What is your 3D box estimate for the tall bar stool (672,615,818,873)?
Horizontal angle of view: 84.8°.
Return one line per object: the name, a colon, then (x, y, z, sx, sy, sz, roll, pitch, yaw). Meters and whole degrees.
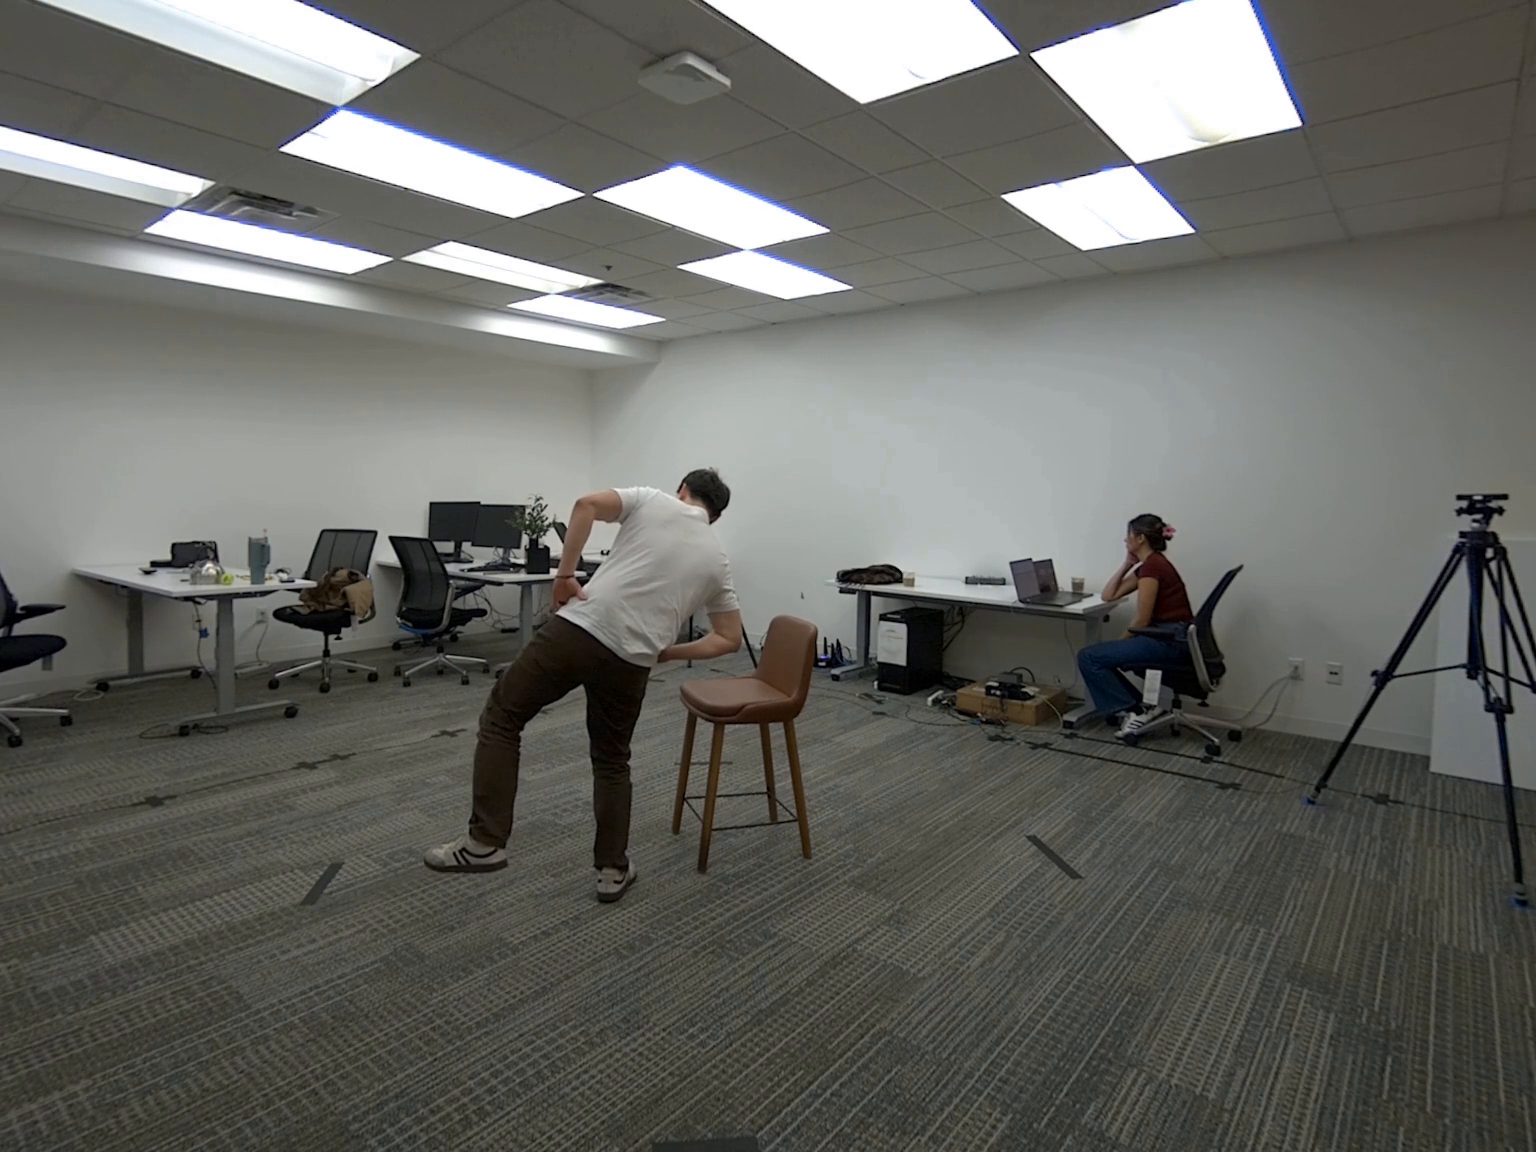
tall bar stool: (-0.109, 0.609, 3.301, 0.458, 0.888, 0.467, 1, 3, -20)
